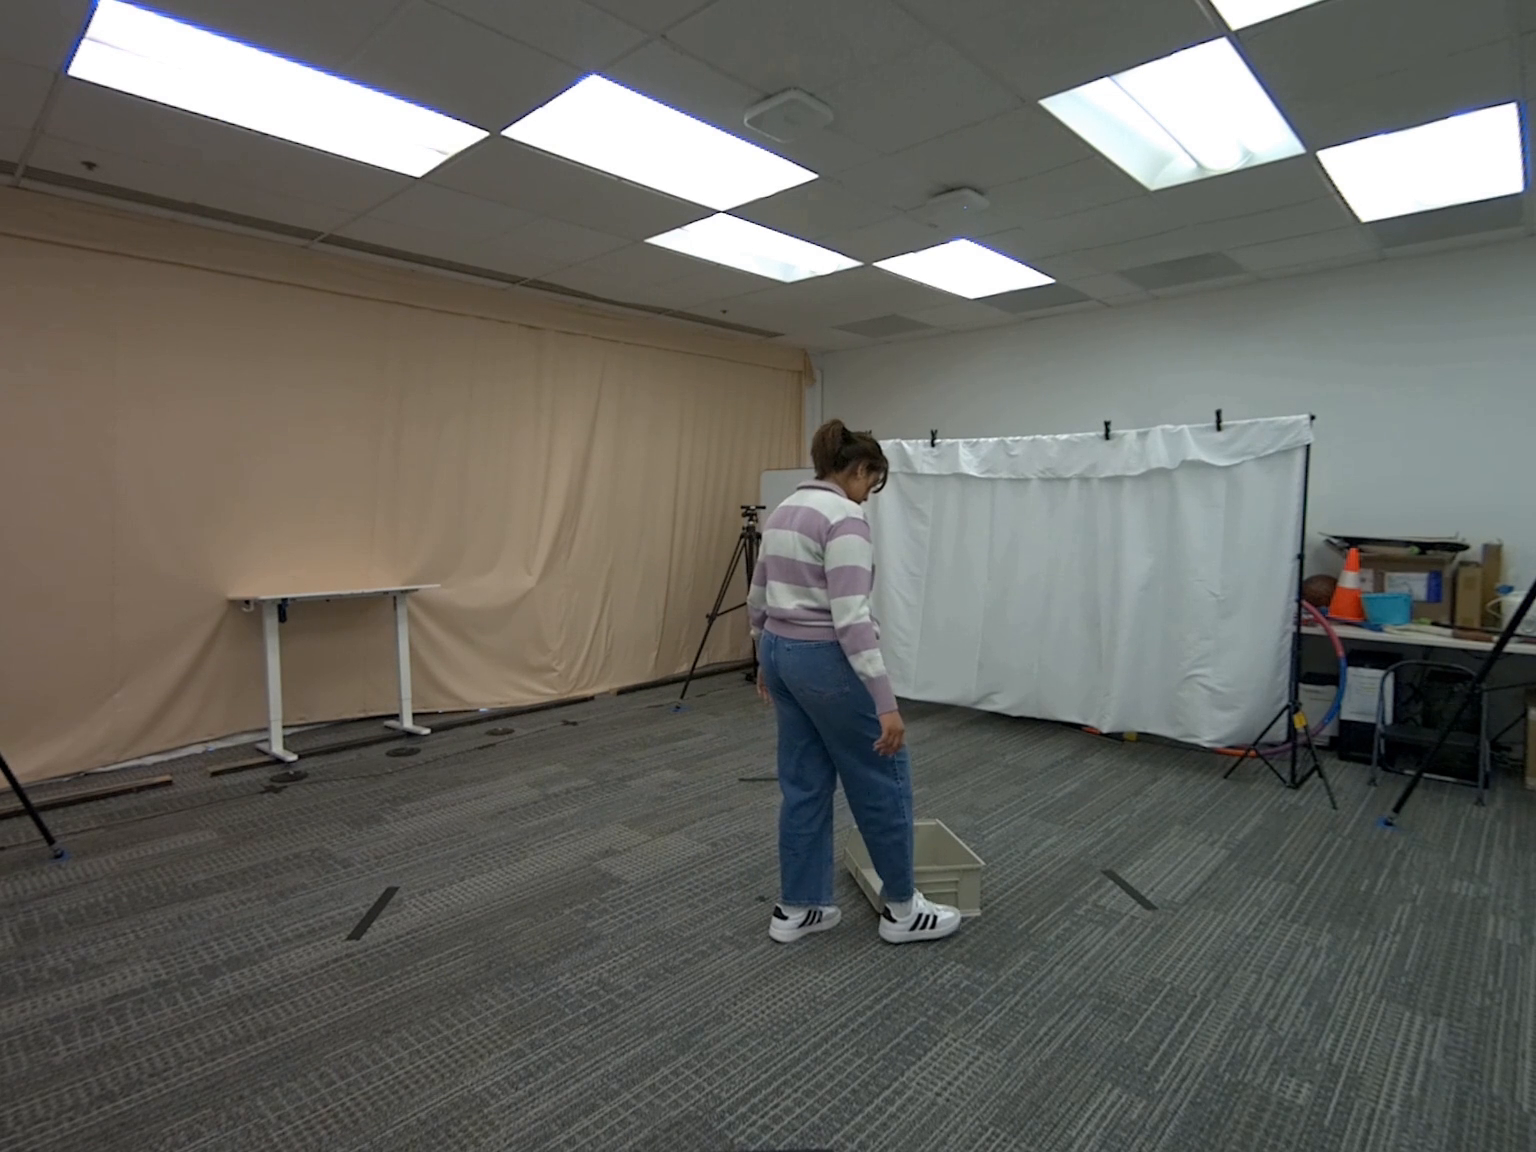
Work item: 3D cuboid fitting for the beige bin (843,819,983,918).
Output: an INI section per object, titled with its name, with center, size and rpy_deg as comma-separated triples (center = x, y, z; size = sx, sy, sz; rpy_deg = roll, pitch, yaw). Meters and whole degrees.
[beige bin]
center = 0.518, 1.055, 3.027
size = 0.374, 0.188, 0.428
rpy_deg = -1, 5, -10
